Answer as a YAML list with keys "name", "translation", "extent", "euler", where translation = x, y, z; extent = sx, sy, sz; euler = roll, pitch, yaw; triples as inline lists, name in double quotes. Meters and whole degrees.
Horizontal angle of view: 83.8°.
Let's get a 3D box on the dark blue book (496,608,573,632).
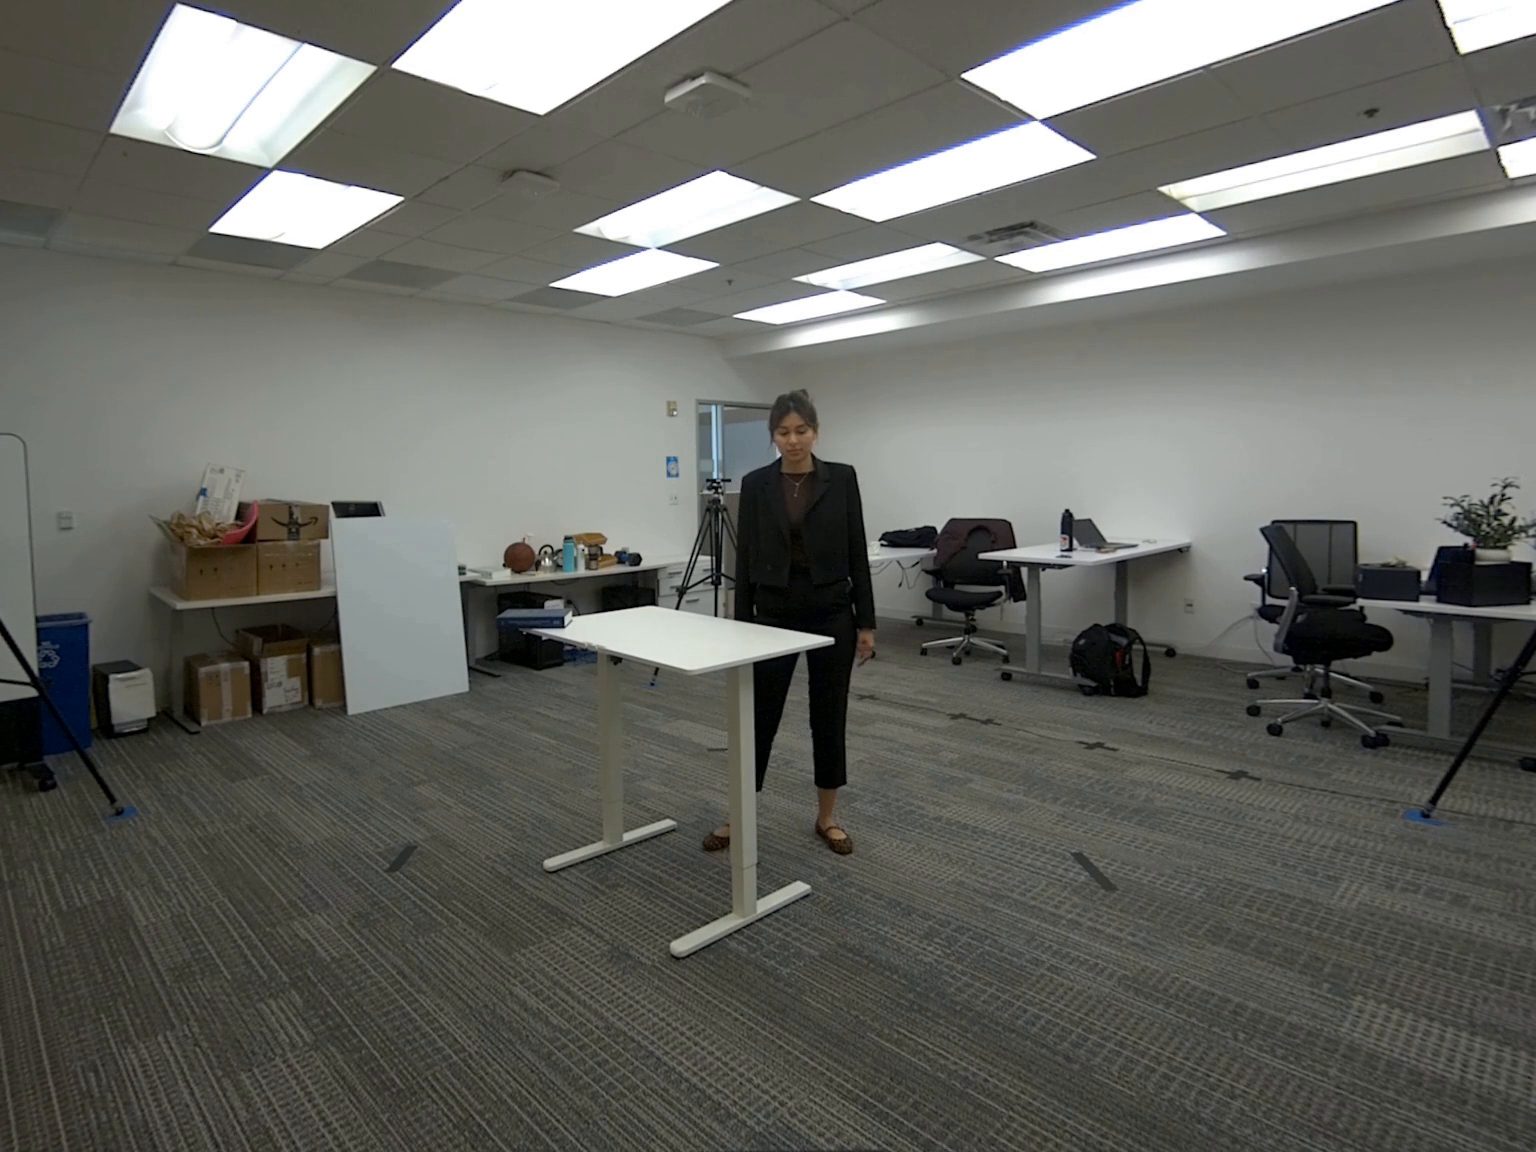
- name: "dark blue book"
  translation: [-0.844, 0.157, 3.093]
  extent: [0.245, 0.045, 0.164]
  euler: [-1, 7, 1]
